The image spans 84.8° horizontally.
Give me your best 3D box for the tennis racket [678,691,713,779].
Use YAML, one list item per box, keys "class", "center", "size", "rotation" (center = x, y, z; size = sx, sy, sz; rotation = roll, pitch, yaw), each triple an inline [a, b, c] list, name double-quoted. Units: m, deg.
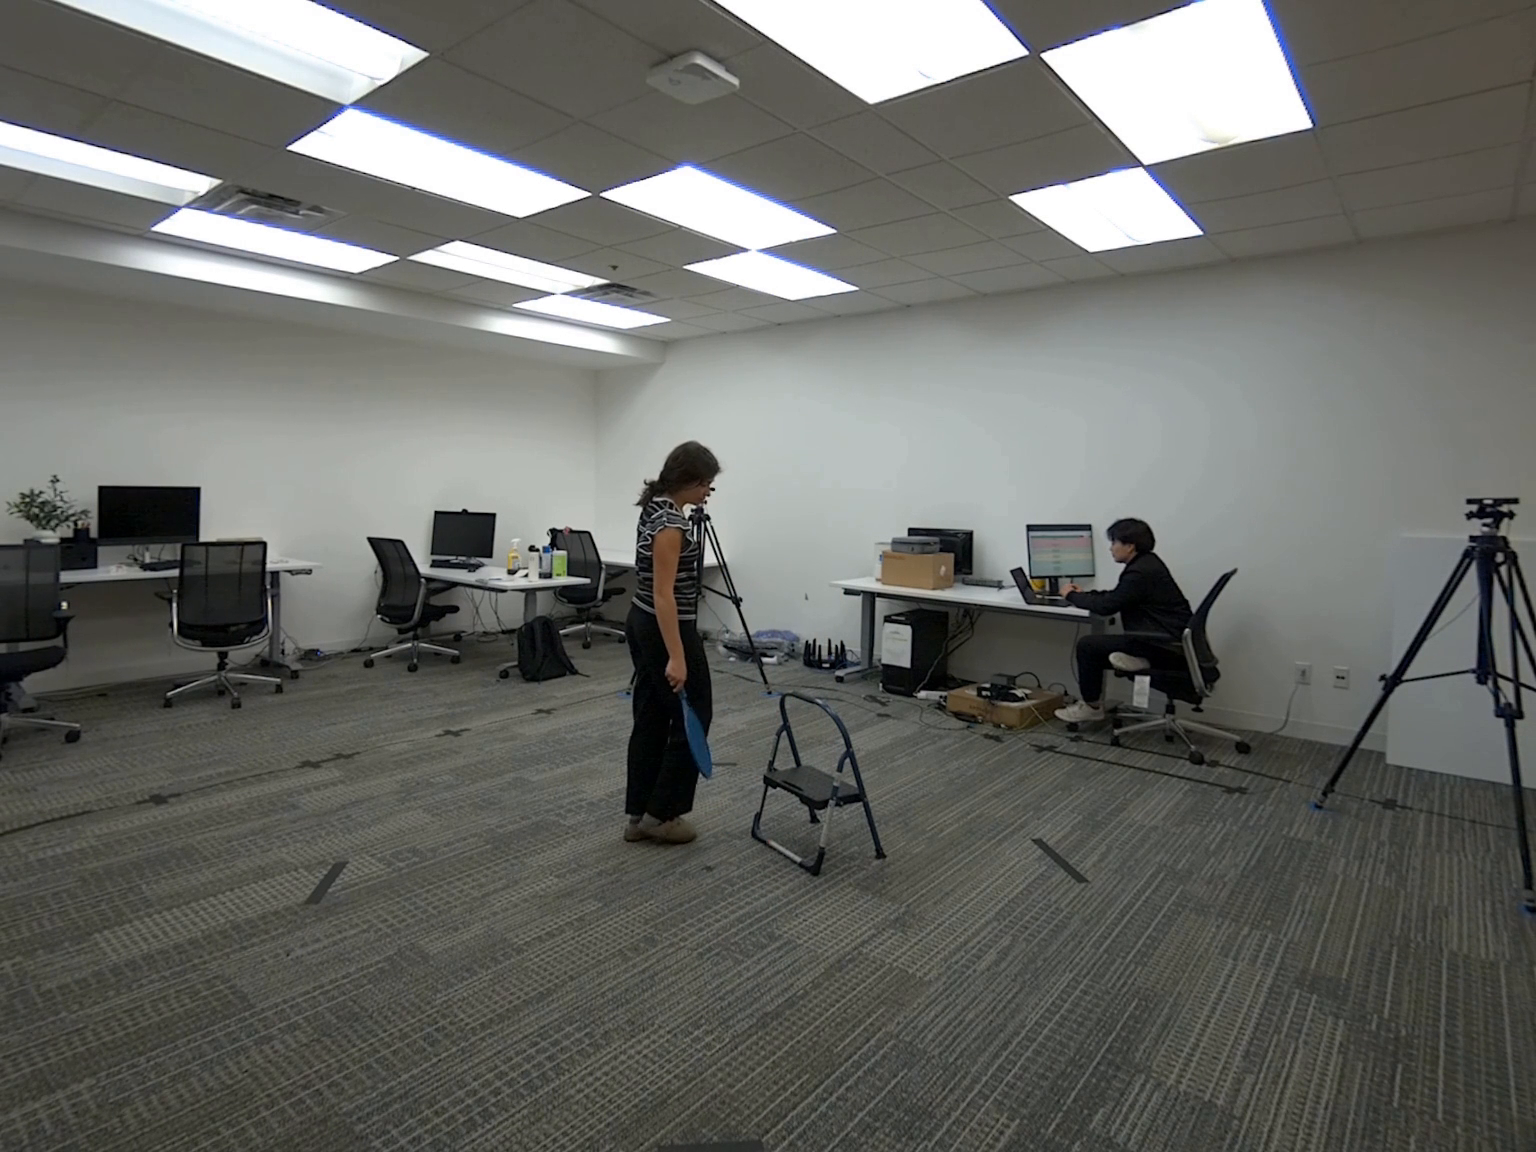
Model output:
- class: "tennis racket"
  center: [-0.283, 0.550, 3.186]
  size: [0.031, 0.435, 0.214]
  rotation: [-17, -4, -13]
